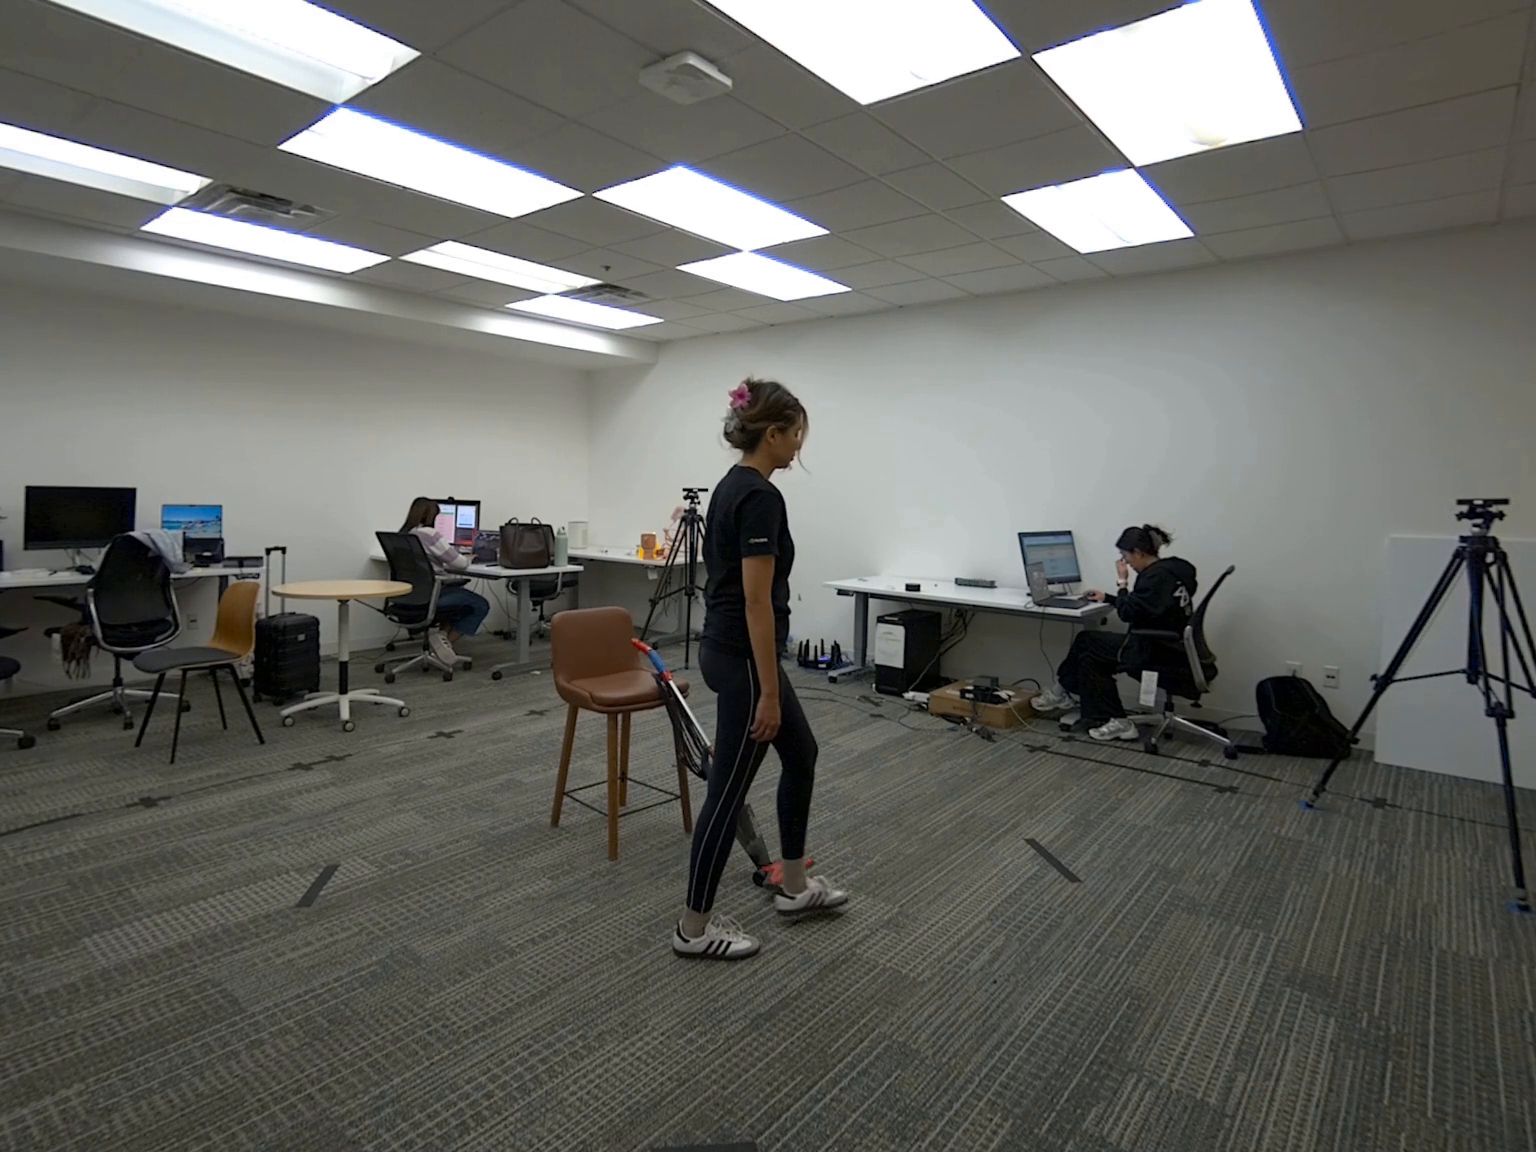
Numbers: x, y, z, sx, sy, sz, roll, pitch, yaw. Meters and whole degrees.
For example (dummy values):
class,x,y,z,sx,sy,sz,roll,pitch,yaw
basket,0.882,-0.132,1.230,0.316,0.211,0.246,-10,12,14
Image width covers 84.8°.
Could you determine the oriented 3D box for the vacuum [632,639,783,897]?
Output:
class,x,y,z,sx,sy,sz,roll,pitch,yaw
vacuum,-0.248,0.664,3.208,0.144,1.081,0.245,-48,-25,26
